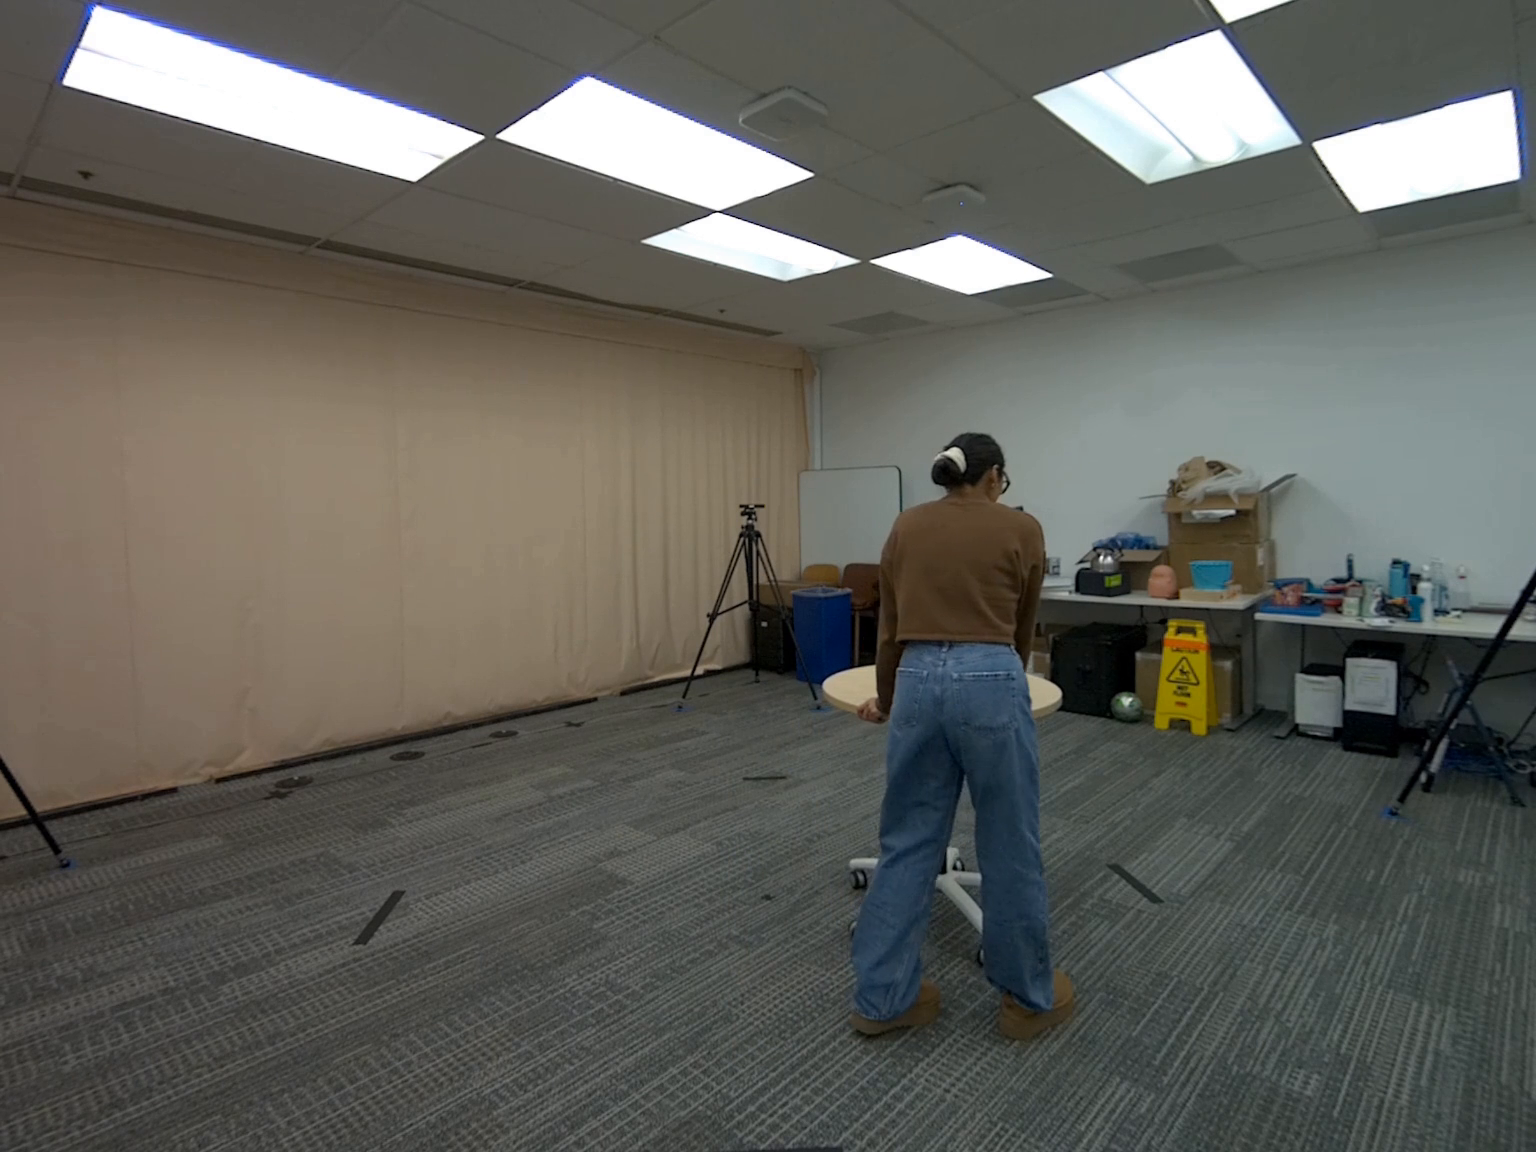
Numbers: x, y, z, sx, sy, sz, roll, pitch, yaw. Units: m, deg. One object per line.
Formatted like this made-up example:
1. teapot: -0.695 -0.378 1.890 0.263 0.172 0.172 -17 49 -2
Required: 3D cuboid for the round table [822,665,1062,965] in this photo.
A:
1. round table: 0.583 0.758 2.824 0.763 0.792 0.767 -1 4 -2
